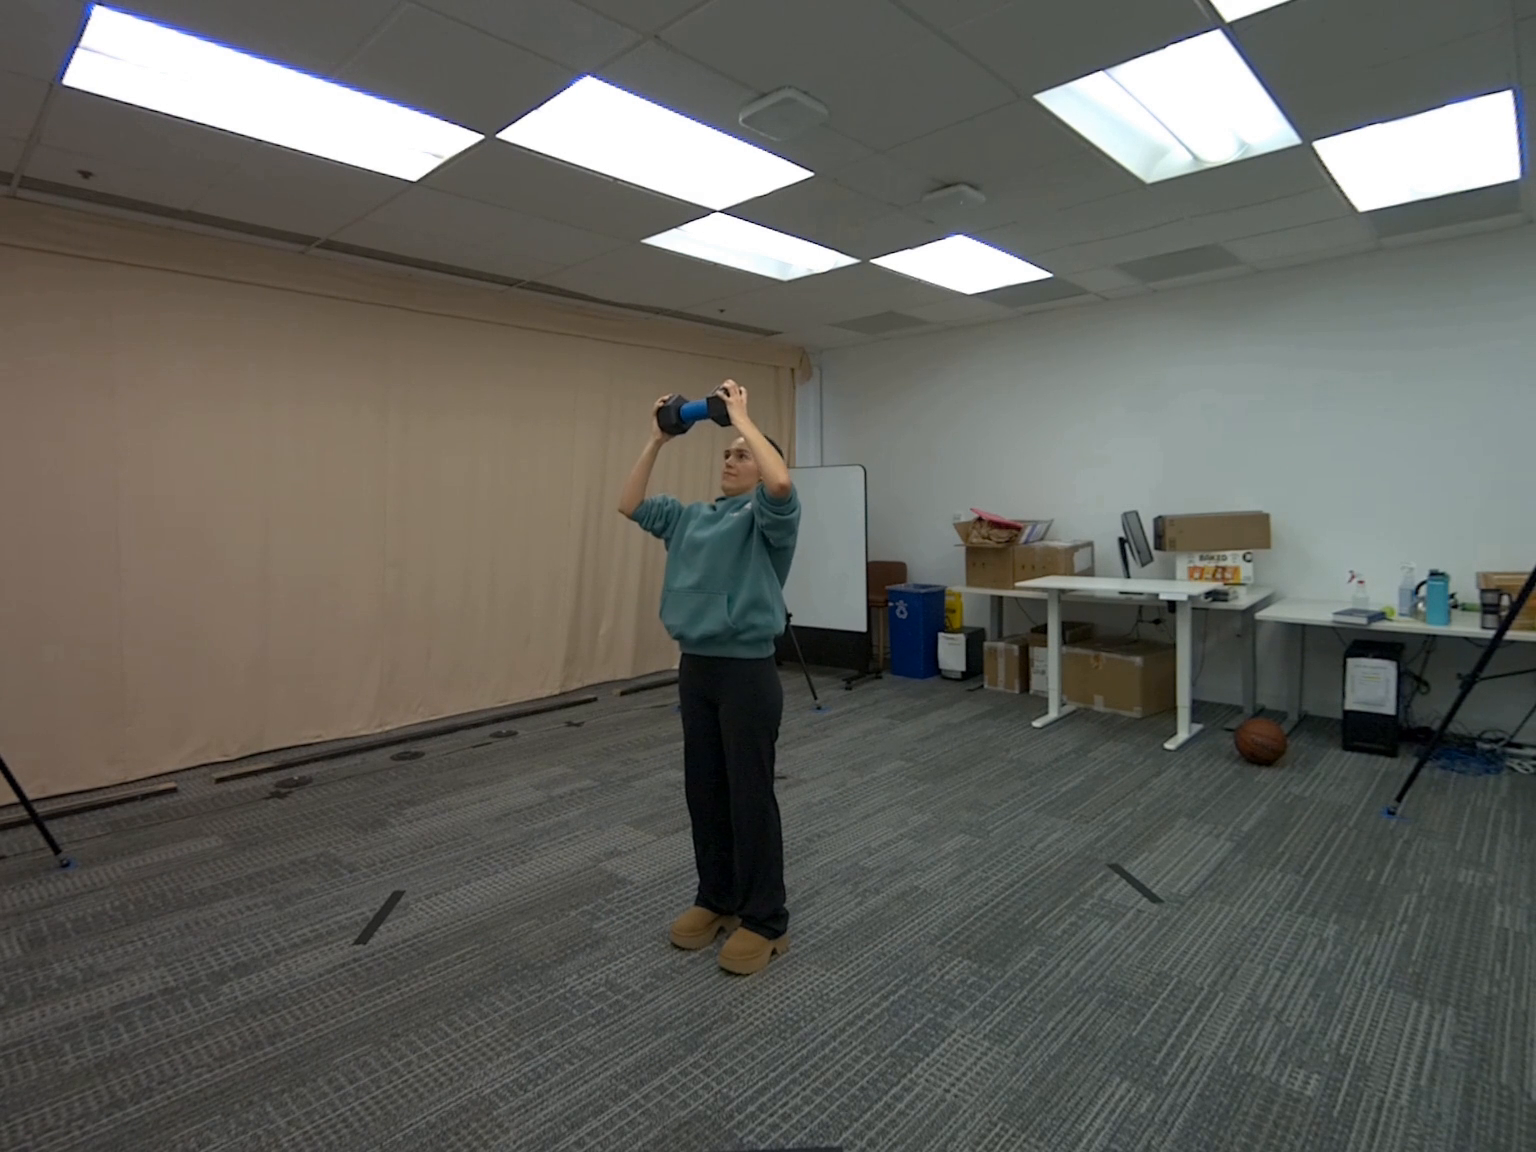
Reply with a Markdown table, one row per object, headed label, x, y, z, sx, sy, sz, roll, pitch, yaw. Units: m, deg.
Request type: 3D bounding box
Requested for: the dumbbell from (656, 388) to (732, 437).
| label | x | y | z | sx | sy | sz | roll | pitch | yaw |
| --- | --- | --- | --- | --- | --- | --- | --- | --- | --- |
| dumbbell | -0.196 | -0.505 | 2.555 | 0.303 | 0.122 | 0.106 | -1 | 9 | 40 |
